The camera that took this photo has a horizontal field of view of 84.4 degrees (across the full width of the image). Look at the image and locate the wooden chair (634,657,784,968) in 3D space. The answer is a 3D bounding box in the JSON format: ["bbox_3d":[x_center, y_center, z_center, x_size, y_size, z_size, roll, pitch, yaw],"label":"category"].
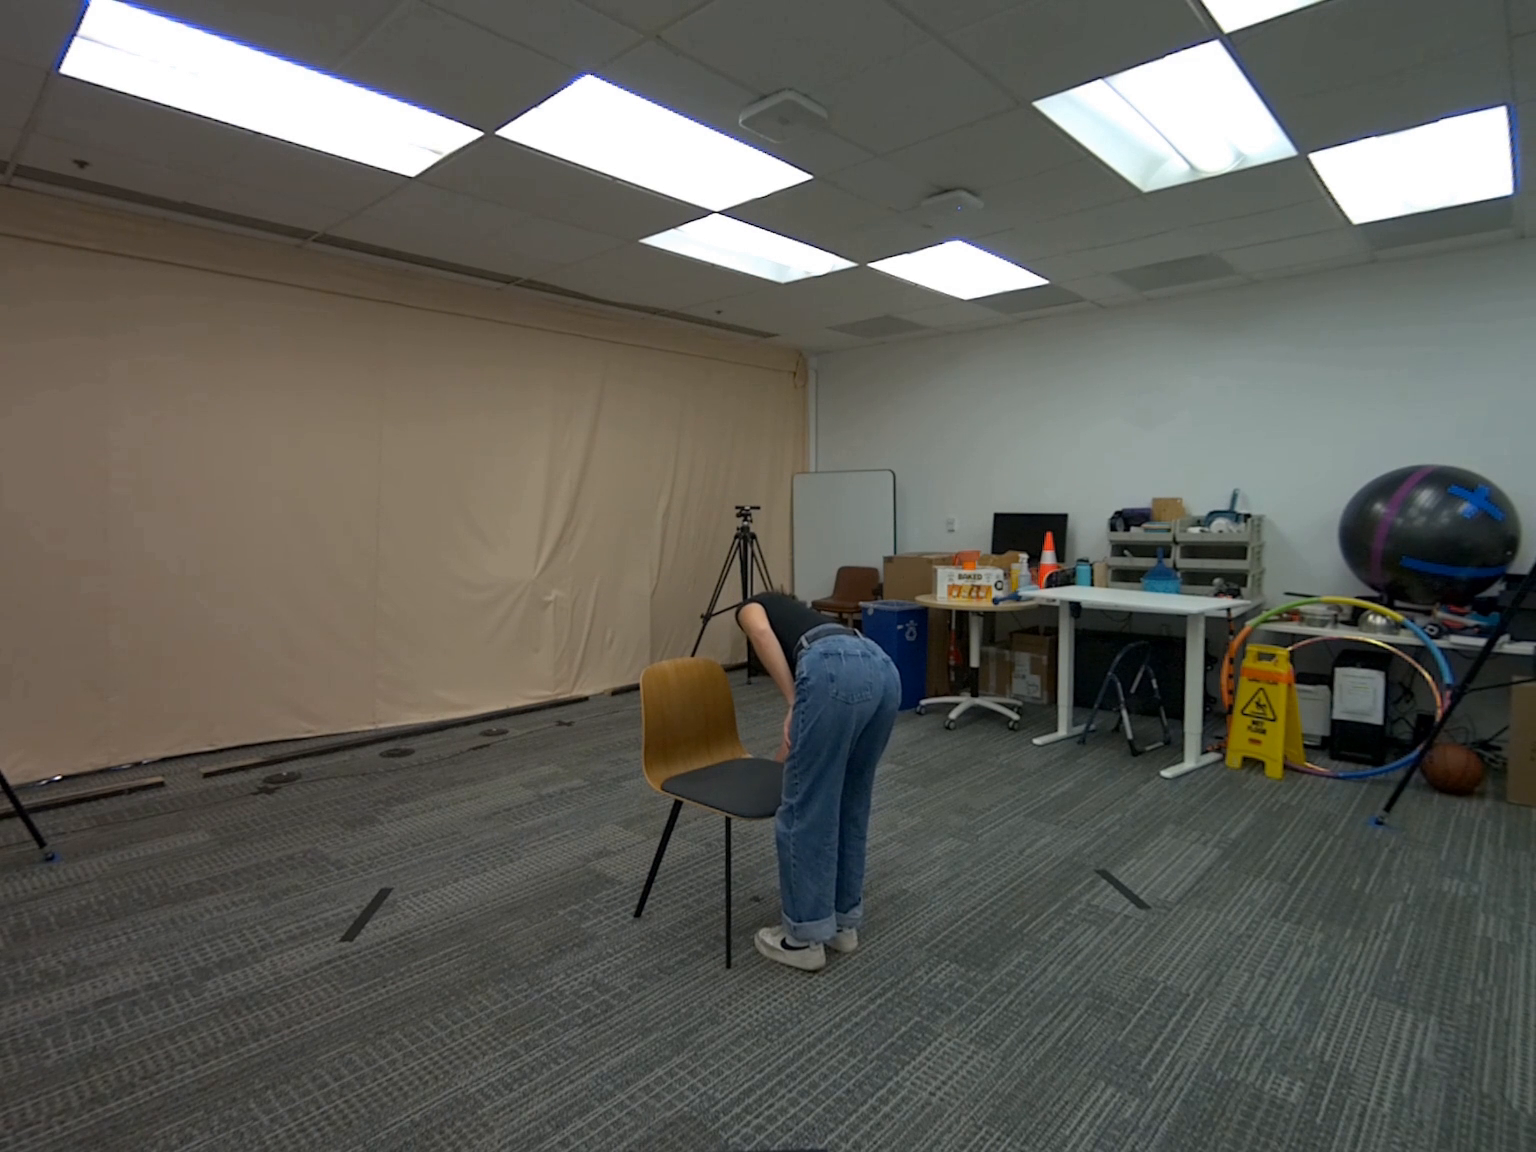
[{"bbox_3d":[-0.133,0.733,2.814,0.539,0.877,0.463,-3,0,44],"label":"wooden chair"}]
